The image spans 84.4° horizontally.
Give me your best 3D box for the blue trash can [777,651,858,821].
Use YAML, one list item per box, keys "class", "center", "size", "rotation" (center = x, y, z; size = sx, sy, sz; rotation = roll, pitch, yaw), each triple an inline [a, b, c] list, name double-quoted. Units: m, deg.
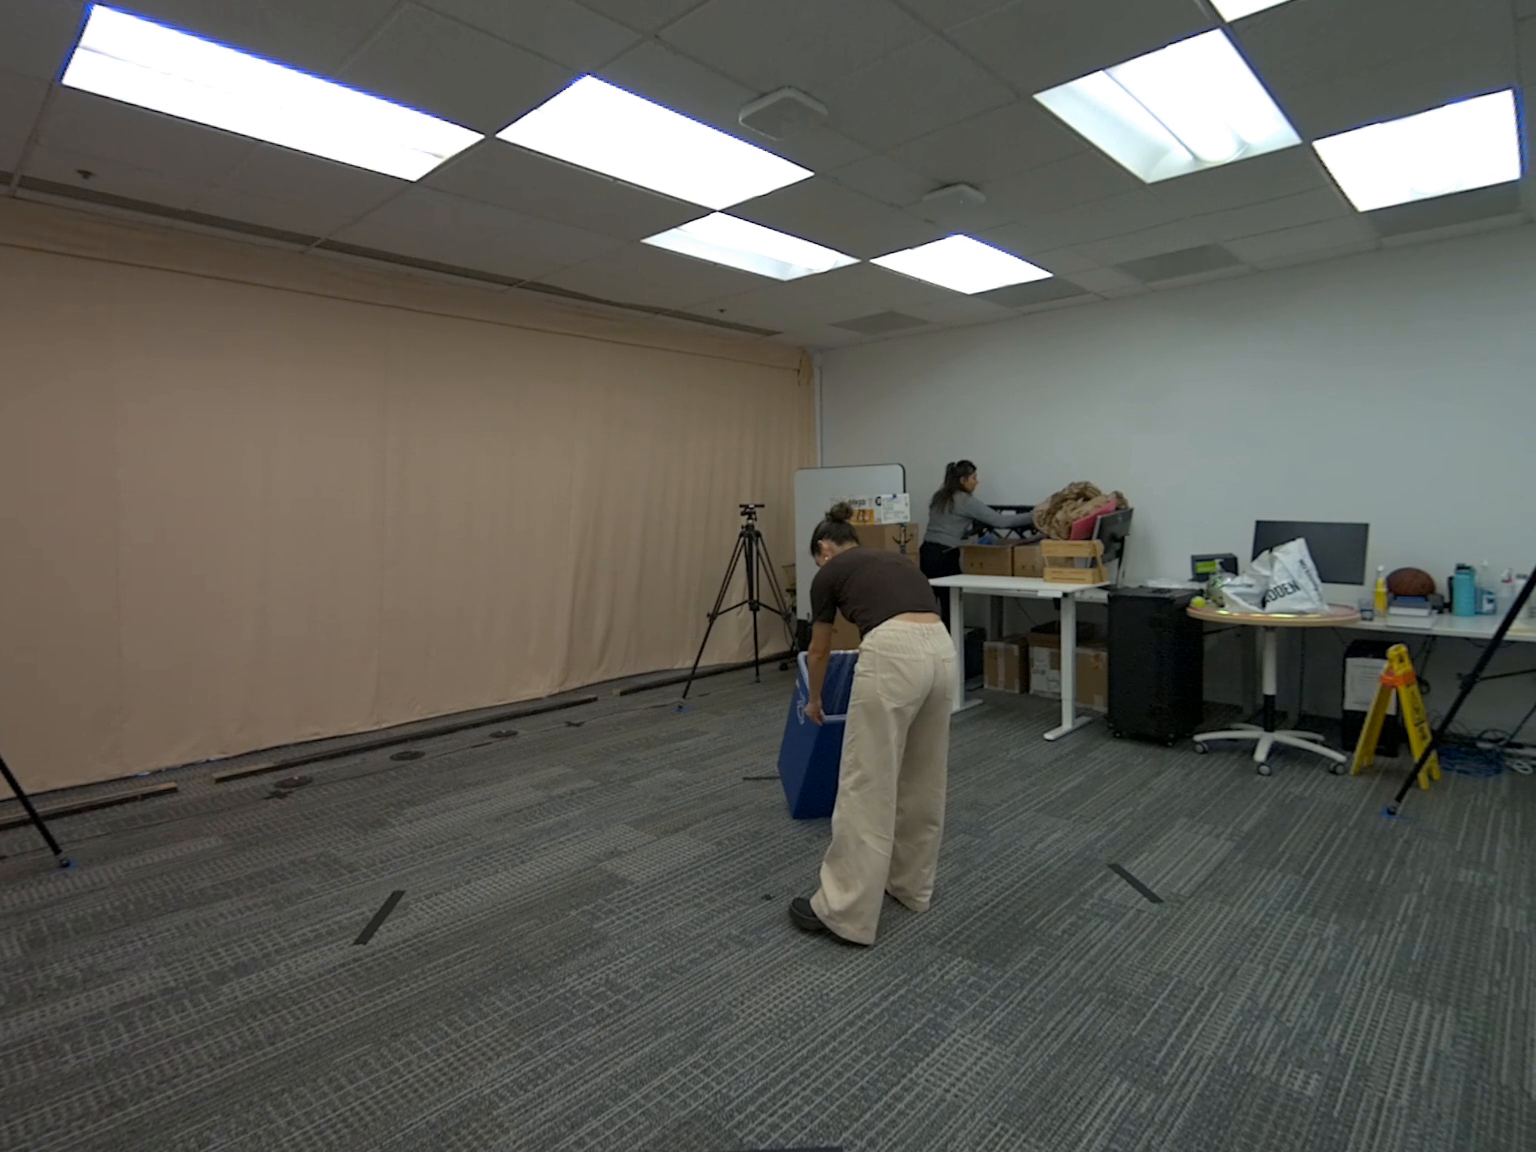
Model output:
- class: "blue trash can"
  center: [0.271, 0.707, 3.619]
  size: [0.372, 0.704, 0.384]
  rotation: [-1, 39, -15]
